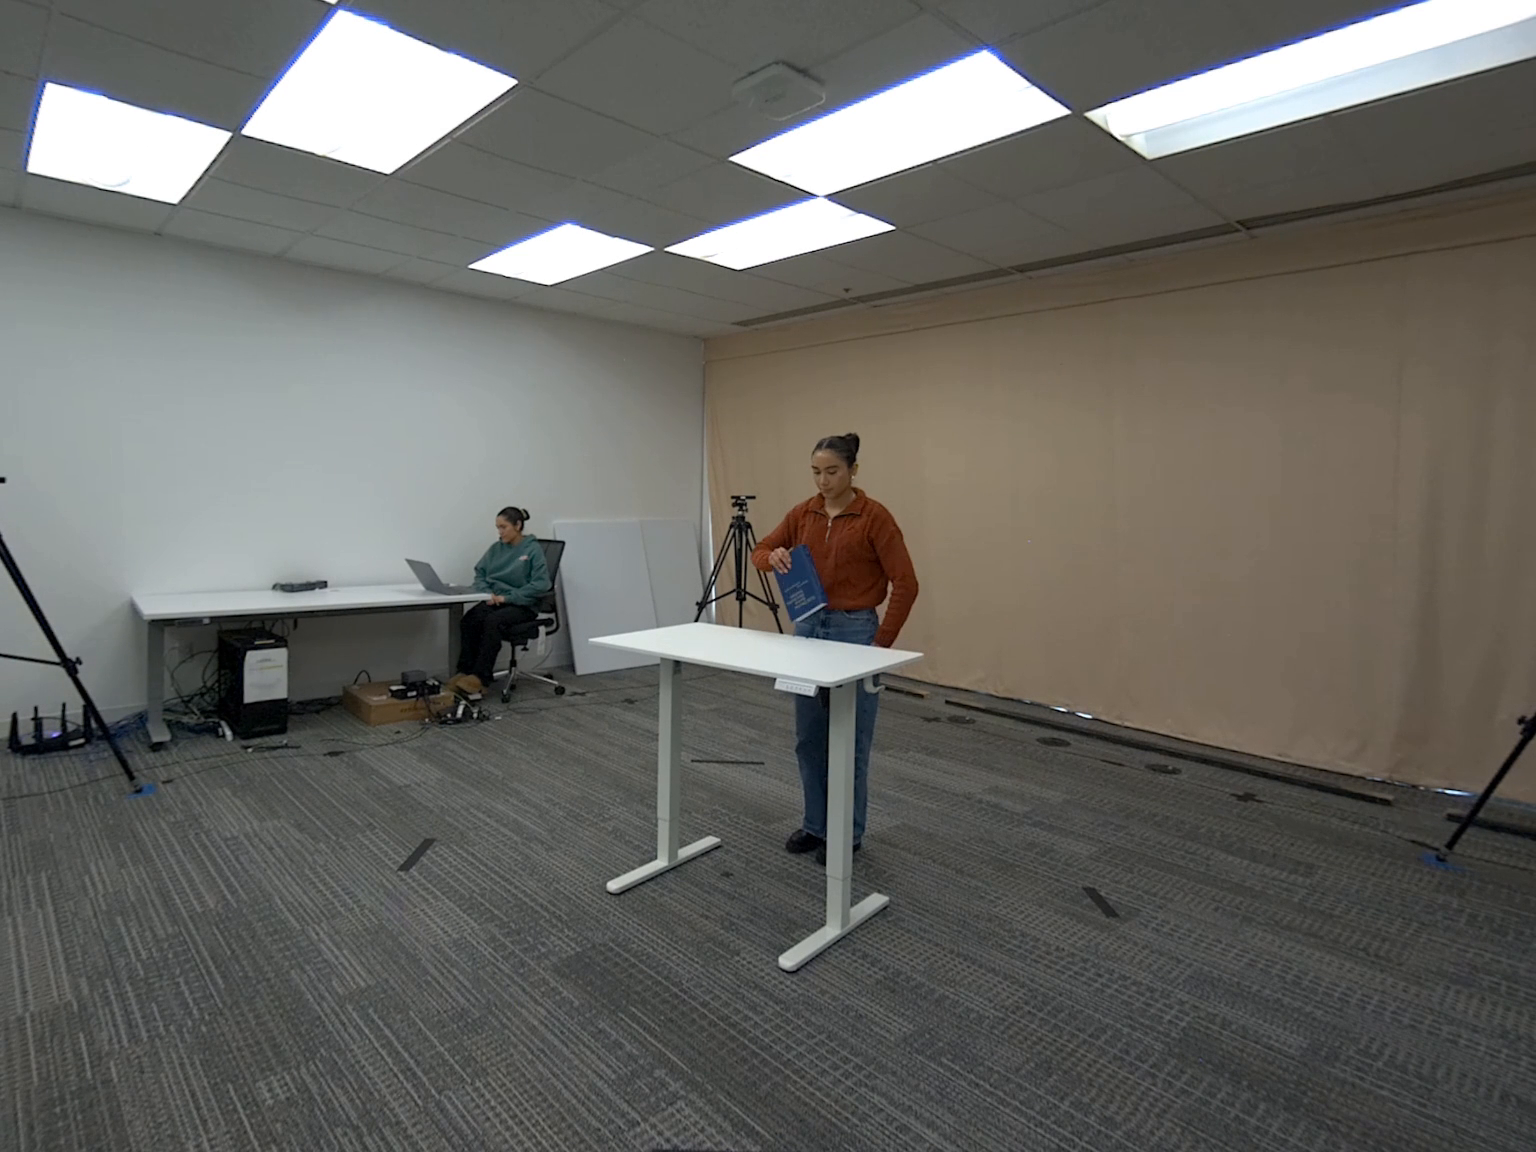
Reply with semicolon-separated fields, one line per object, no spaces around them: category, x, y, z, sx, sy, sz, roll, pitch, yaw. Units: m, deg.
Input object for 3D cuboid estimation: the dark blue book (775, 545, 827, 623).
dark blue book;0.113;0.028;3.128;0.044;0.250;0.164;5;-32;-45
